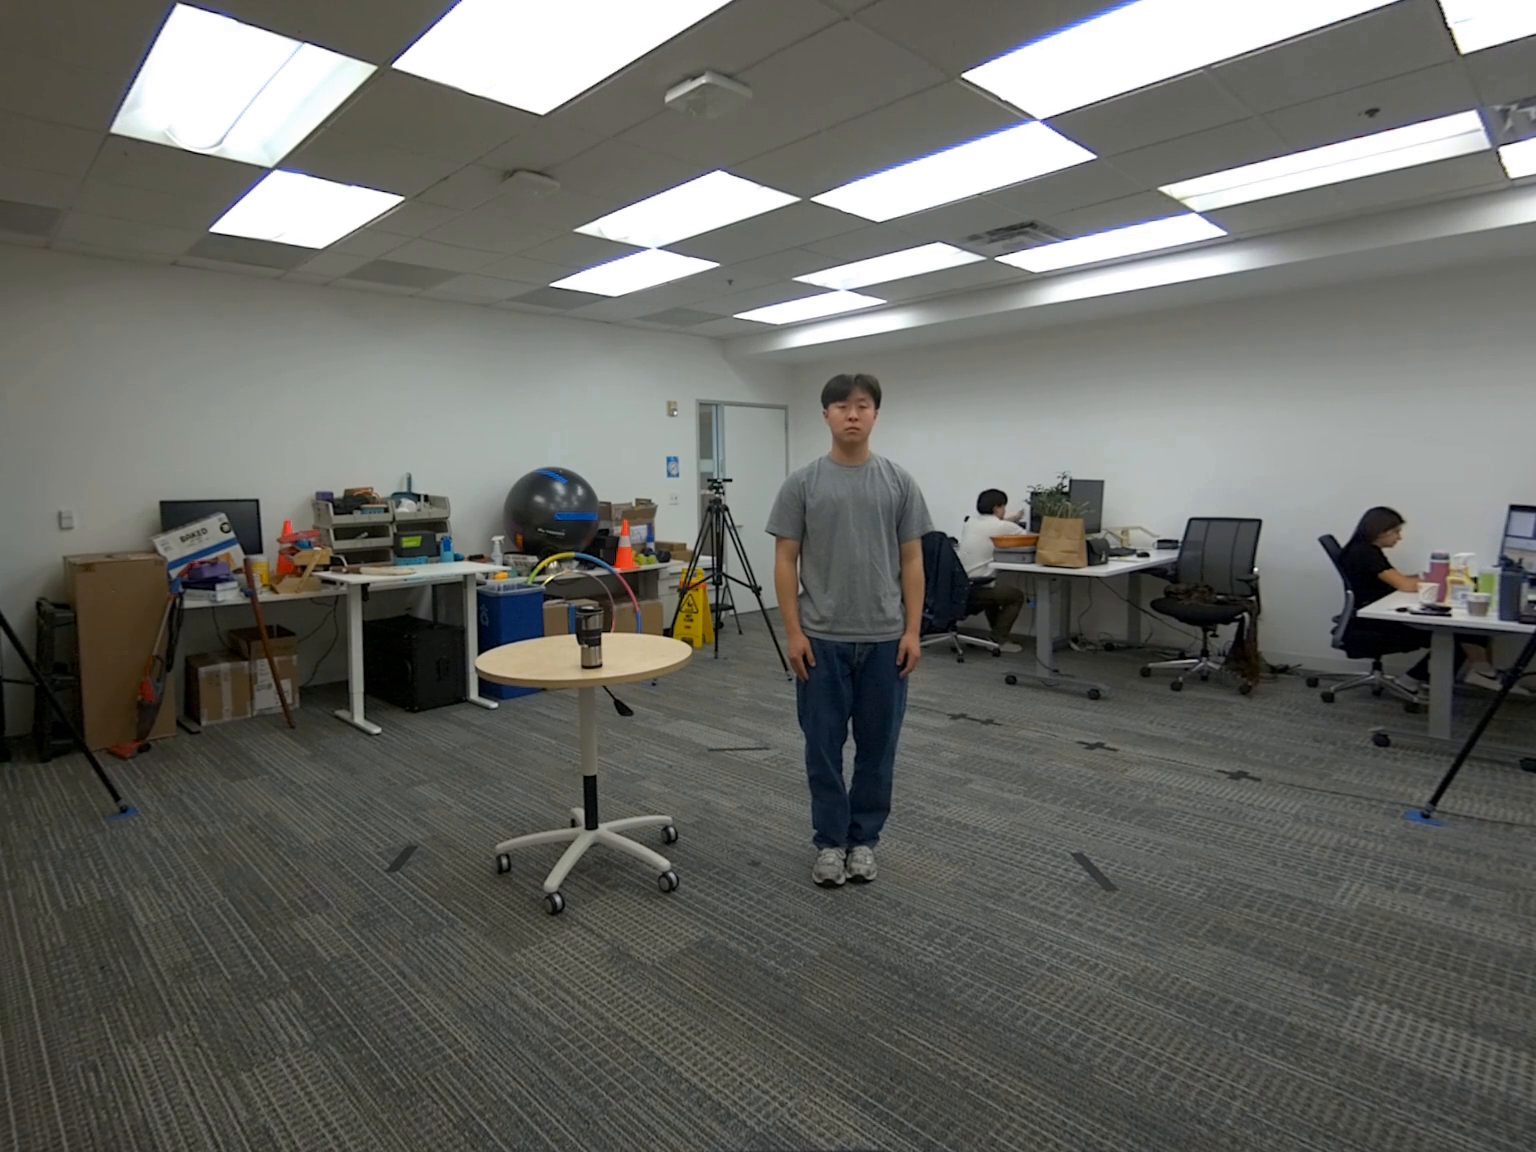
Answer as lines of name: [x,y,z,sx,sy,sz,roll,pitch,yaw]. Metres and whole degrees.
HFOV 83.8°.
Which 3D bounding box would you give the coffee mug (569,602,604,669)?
coffee mug: [-0.611,0.206,2.825,0.090,0.202,0.119,5,6,40]
